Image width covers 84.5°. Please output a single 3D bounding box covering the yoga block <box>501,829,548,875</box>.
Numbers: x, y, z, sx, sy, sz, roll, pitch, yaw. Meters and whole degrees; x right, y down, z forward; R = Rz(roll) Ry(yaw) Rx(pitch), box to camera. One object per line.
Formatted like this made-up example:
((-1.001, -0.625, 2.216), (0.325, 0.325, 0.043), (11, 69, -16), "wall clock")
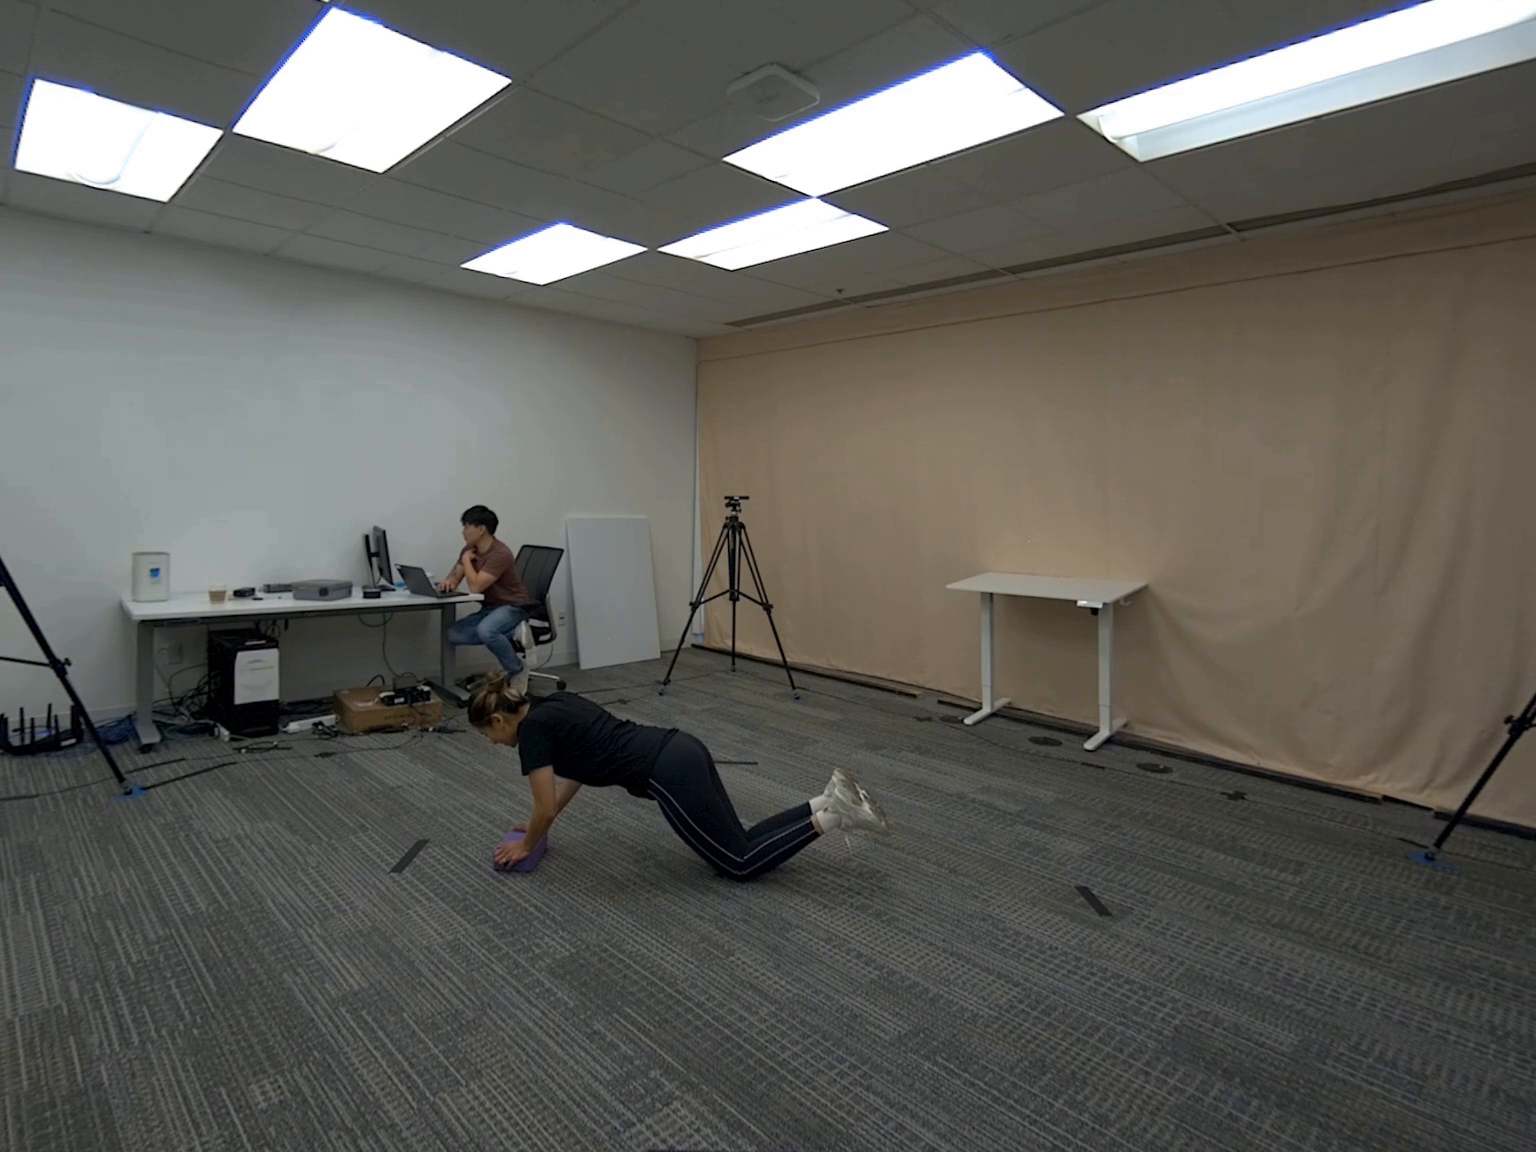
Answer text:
((-0.936, 1.035, 3.203), (0.149, 0.076, 0.229), (1, 4, 1), "yoga block")
